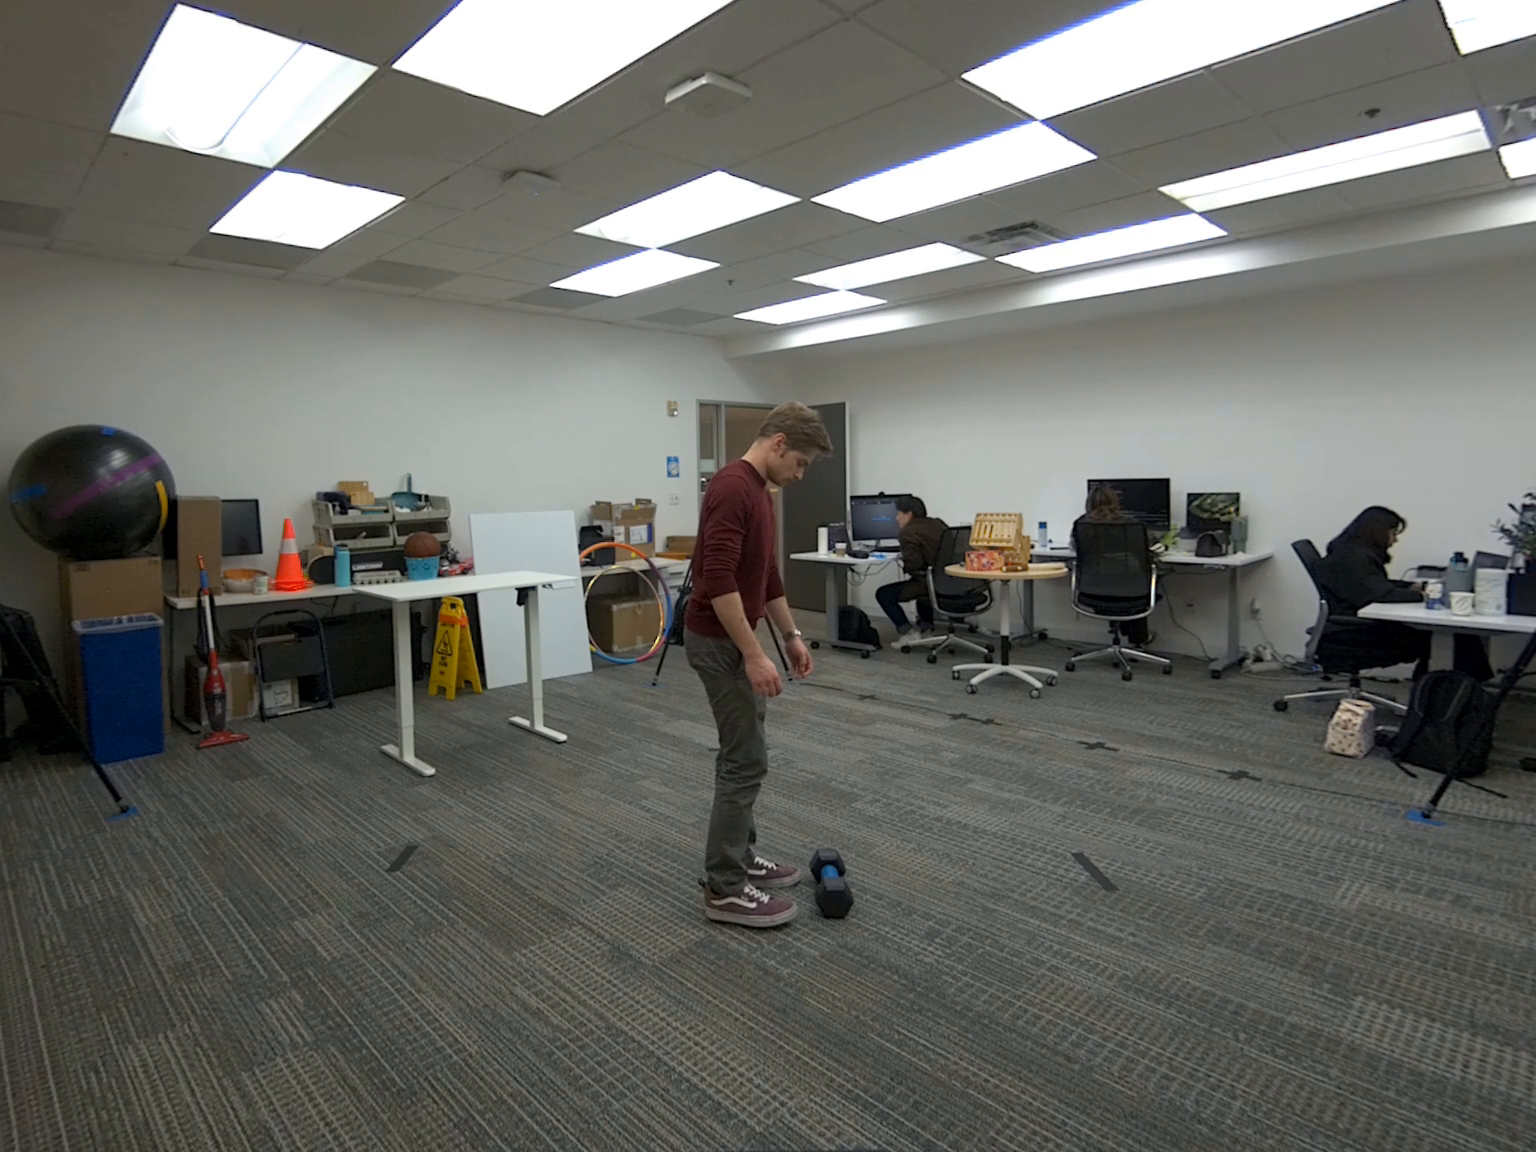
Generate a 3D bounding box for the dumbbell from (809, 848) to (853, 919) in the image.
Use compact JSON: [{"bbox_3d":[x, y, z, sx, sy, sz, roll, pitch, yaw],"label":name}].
[{"bbox_3d":[0.213,1.019,2.834,0.109,0.122,0.294,-28,6,4],"label":"dumbbell"}]
